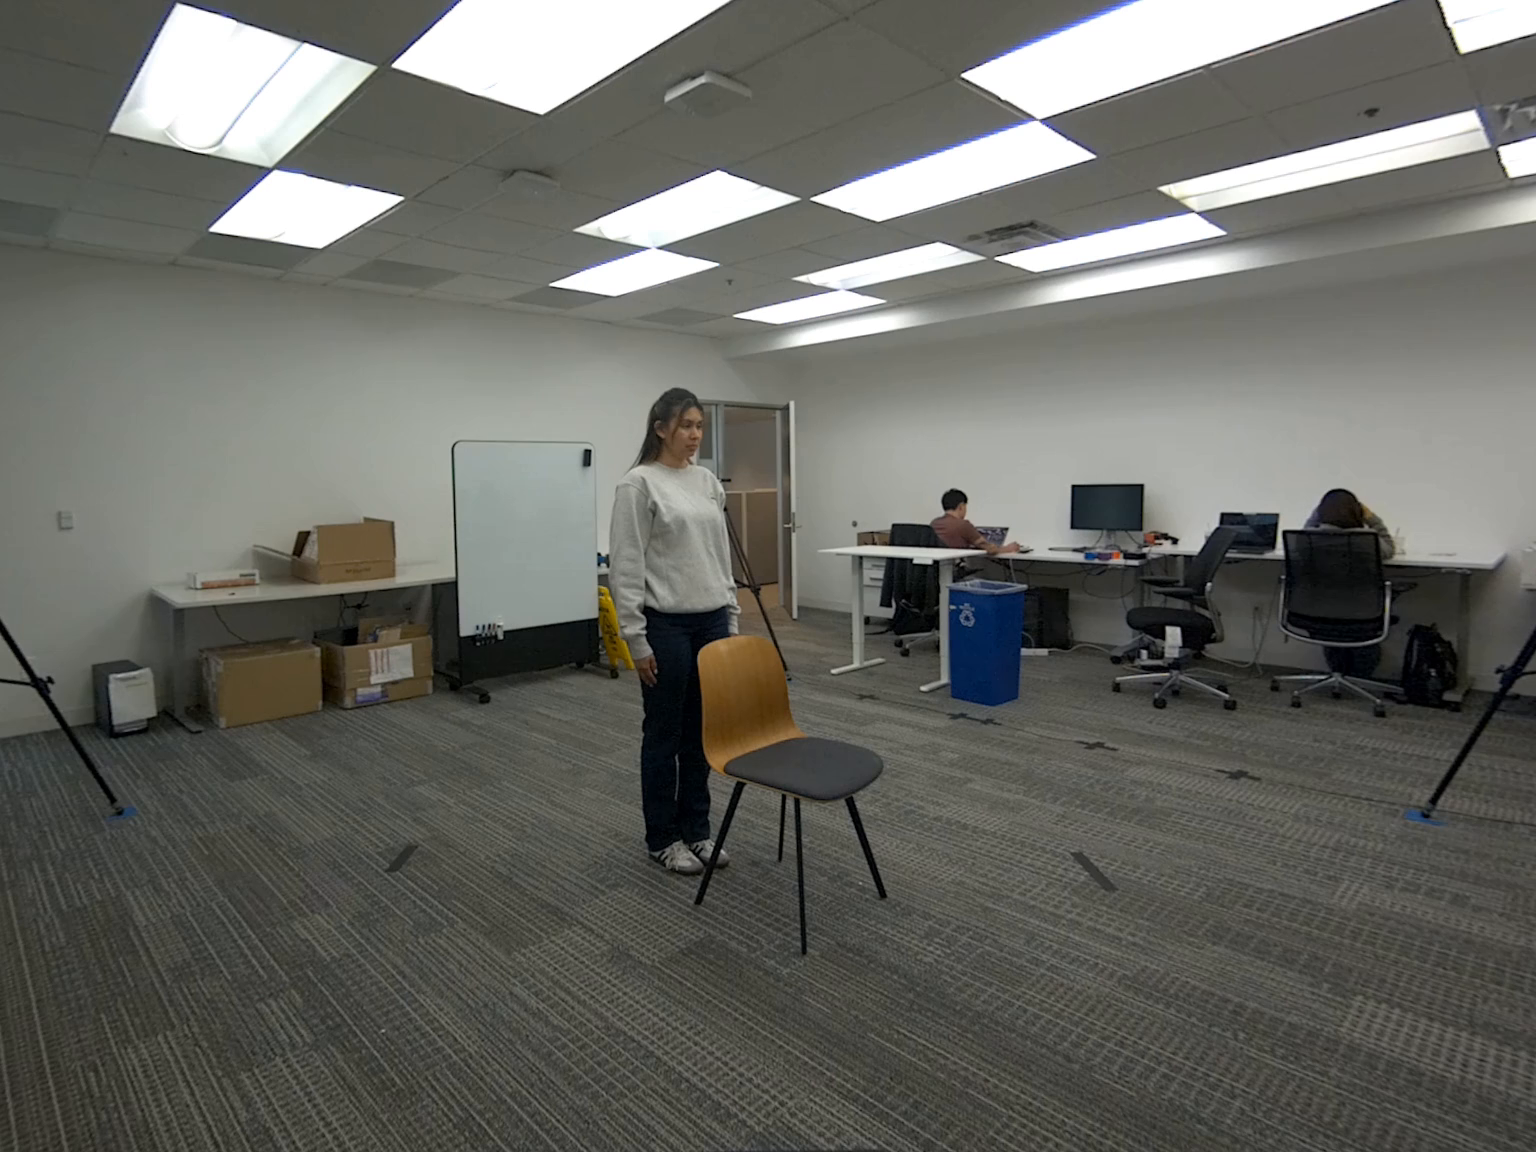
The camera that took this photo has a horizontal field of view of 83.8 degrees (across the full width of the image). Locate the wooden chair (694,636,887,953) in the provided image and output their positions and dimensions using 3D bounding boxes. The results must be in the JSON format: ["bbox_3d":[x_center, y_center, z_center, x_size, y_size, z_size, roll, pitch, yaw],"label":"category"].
[{"bbox_3d":[0.081,0.651,2.783,0.537,0.877,0.465,-3,1,41],"label":"wooden chair"}]
